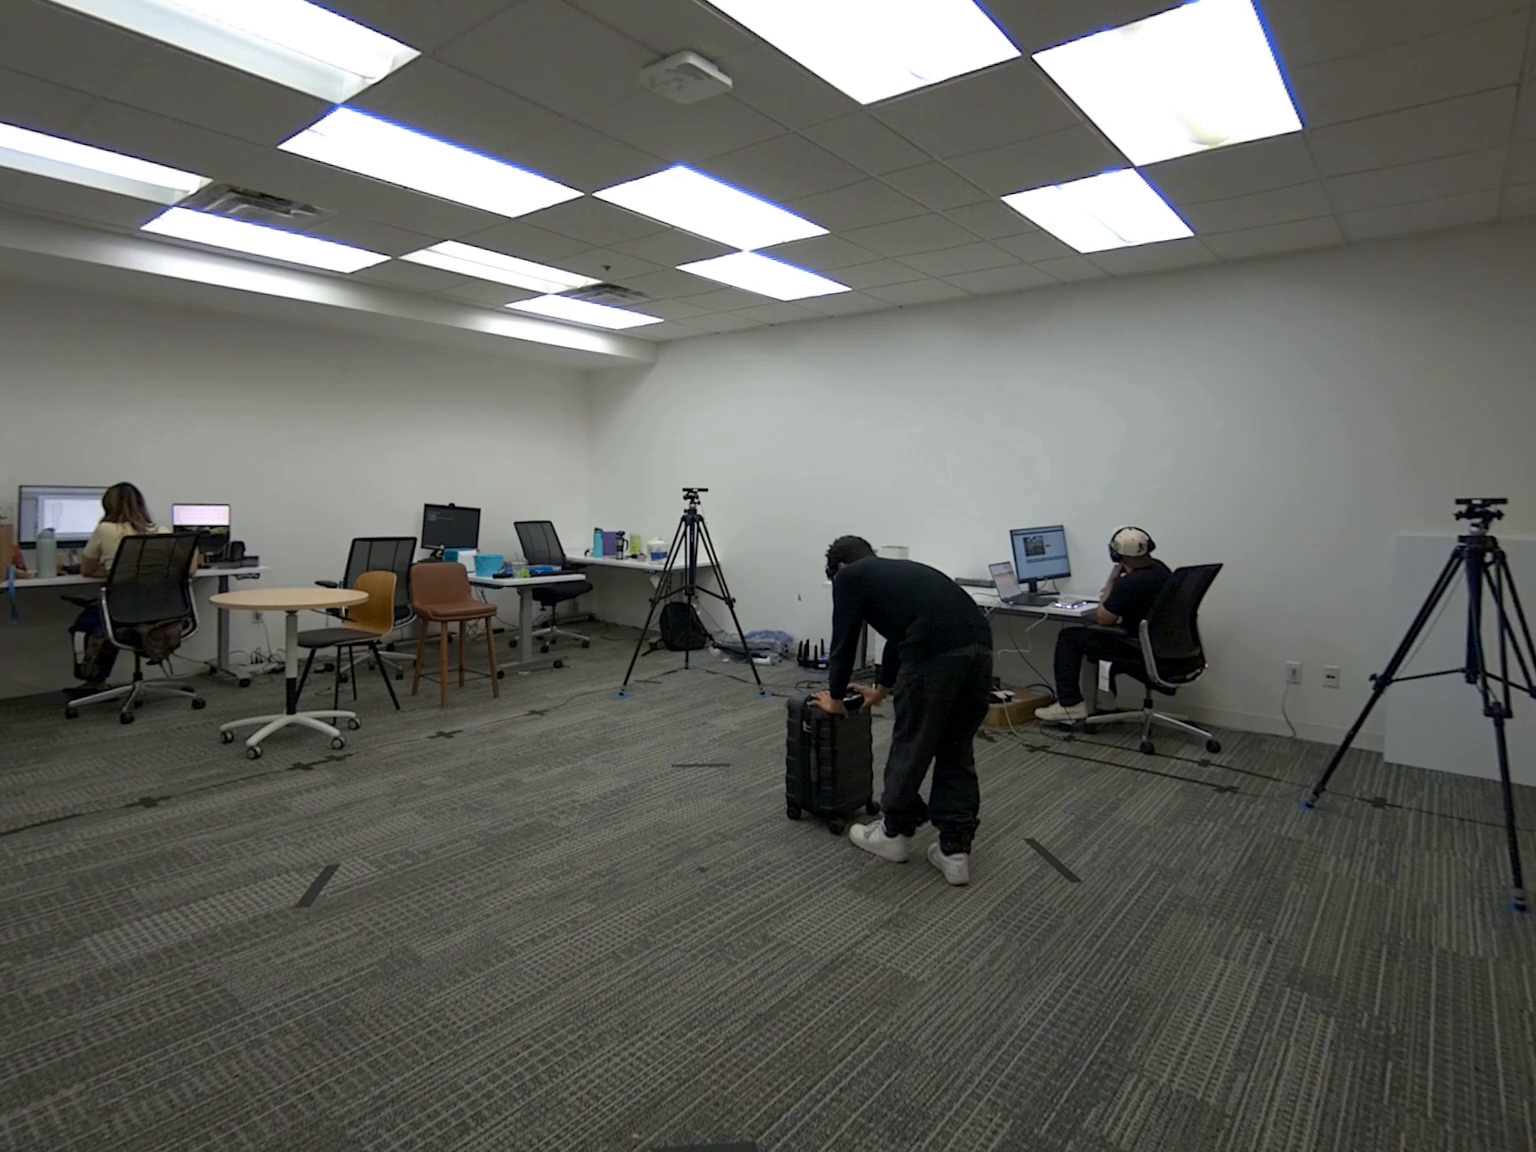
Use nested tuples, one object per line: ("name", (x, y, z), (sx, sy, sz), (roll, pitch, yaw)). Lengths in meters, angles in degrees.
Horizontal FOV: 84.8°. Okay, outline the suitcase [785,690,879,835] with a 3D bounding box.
("suitcase", (0.258, 0.752, 3.653), (0.256, 0.548, 0.364), (1, 3, 41))
